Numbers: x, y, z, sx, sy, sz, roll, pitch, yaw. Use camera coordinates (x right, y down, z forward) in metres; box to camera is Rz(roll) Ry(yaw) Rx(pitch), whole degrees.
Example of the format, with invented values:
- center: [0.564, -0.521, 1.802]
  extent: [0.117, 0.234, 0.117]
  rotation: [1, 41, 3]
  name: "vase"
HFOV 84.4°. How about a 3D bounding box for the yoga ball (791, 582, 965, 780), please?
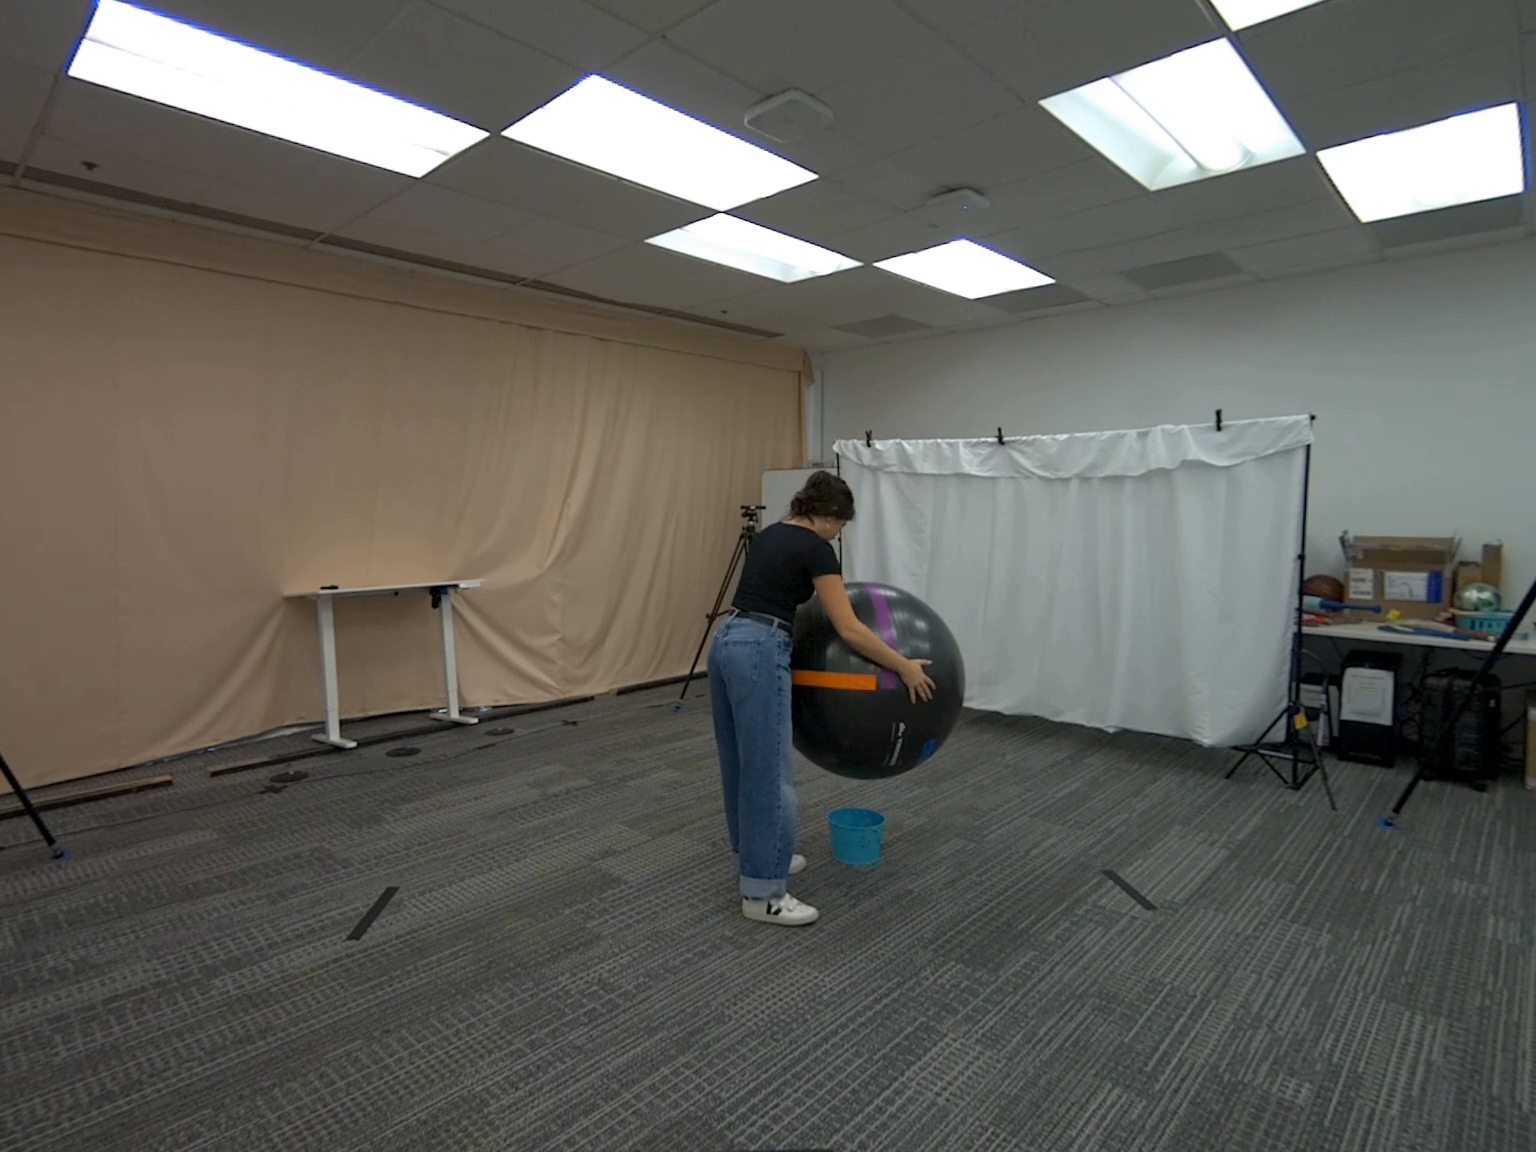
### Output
- center: [0.385, 0.402, 3.271]
  extent: [0.757, 0.756, 0.760]
  rotation: [0, 4, -2]
  name: "yoga ball"
